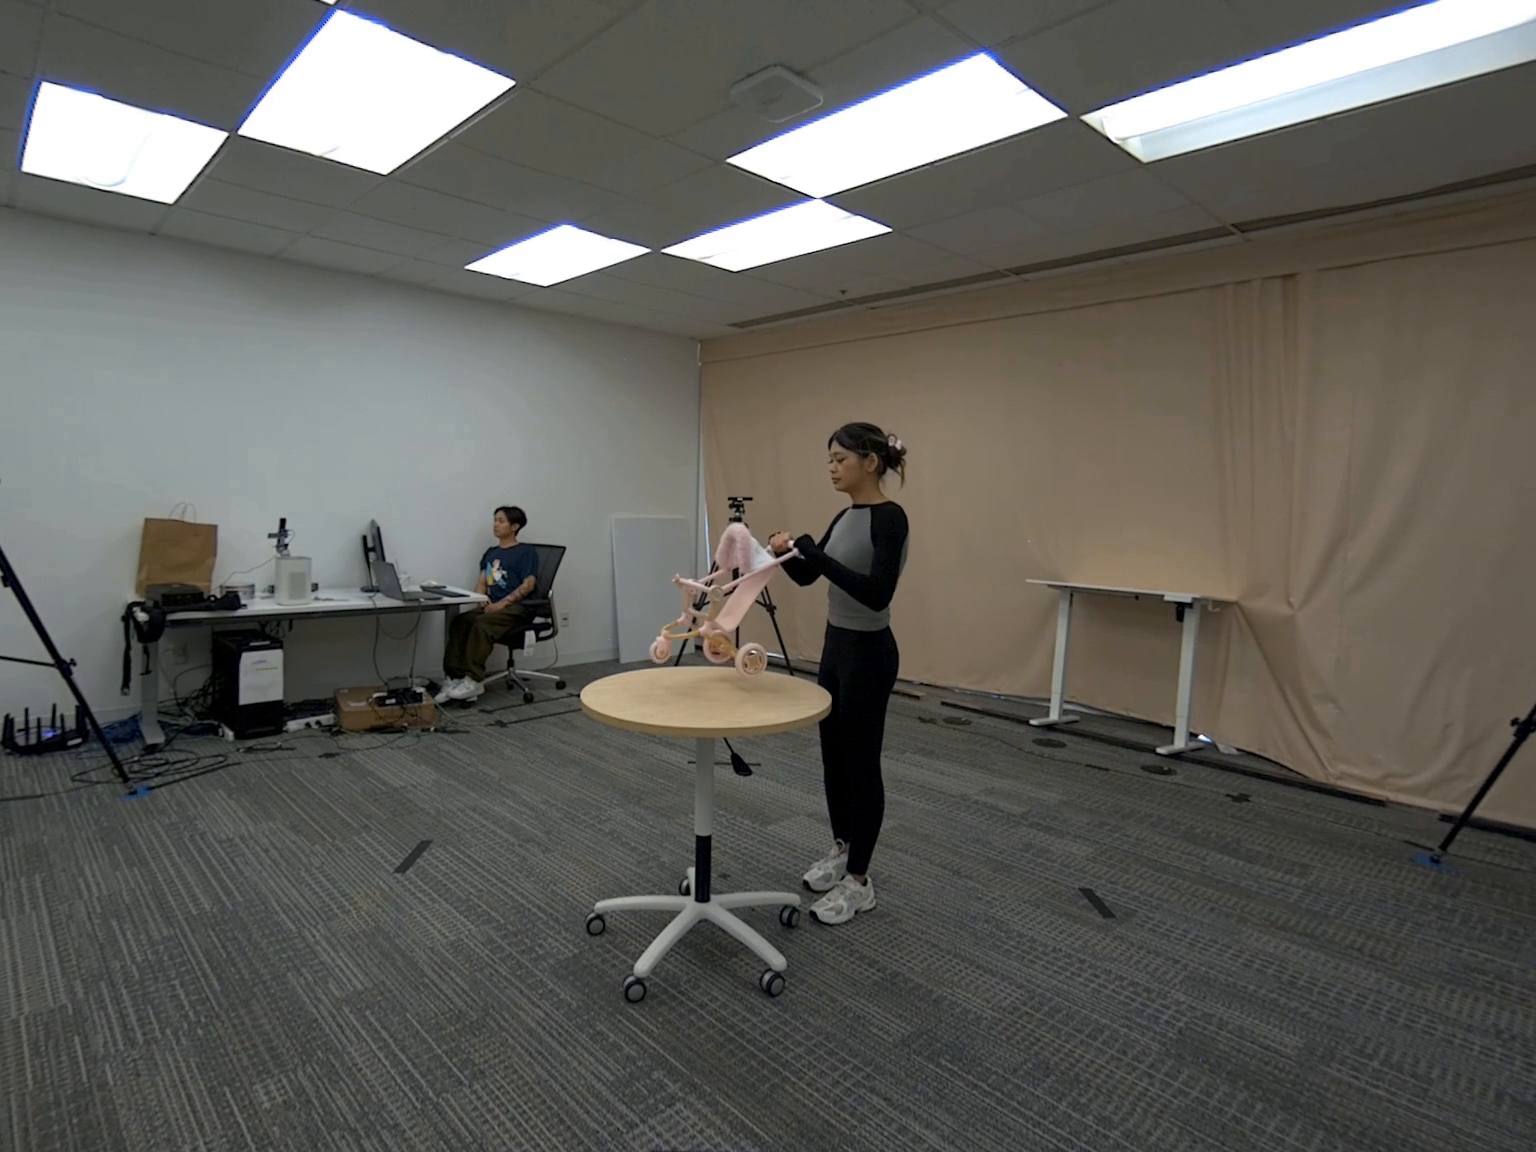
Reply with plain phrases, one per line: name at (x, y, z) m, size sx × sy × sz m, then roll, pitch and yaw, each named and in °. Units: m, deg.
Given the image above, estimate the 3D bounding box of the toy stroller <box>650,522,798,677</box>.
toy stroller at (-0.145, 0.072, 2.668) m, size 0.334 × 0.536 × 0.286 m, roll 24°, pitch -5°, yaw -21°
